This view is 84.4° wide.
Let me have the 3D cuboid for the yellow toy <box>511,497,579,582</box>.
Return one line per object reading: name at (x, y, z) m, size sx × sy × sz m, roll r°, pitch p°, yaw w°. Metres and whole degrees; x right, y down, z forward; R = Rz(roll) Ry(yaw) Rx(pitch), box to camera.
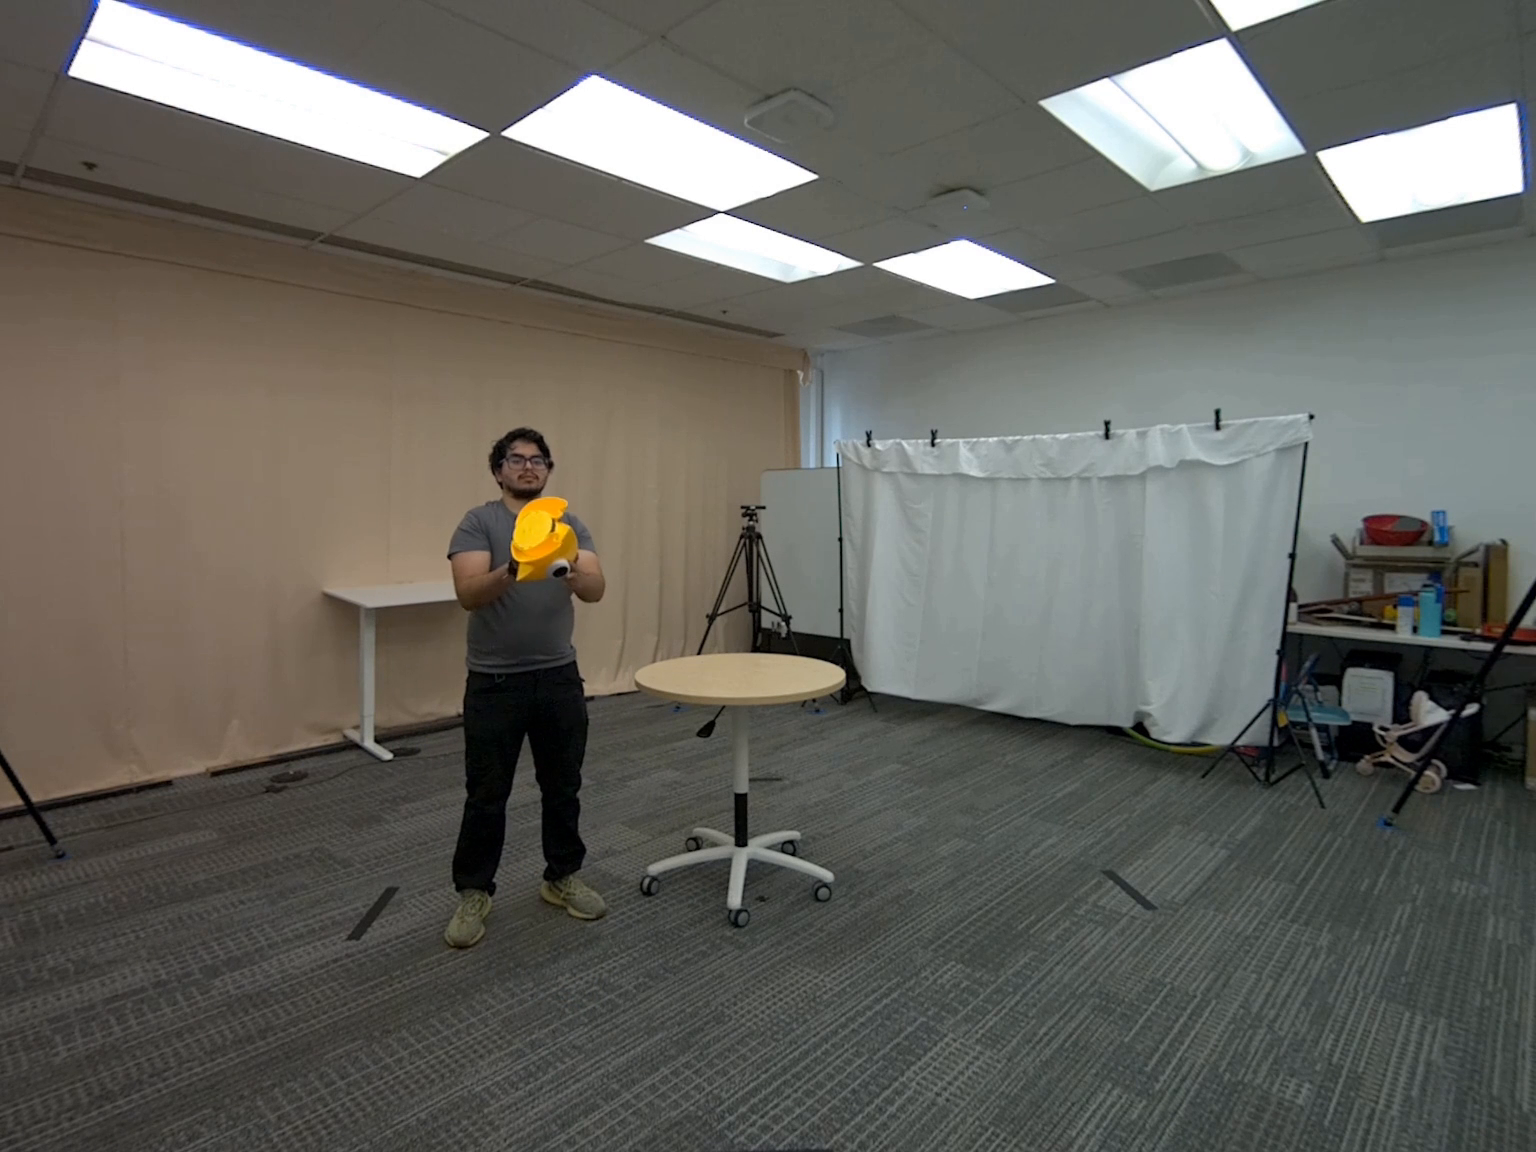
yellow toy at (-0.592, -0.066, 2.356) m, size 0.196 × 0.208 × 0.223 m, roll -9°, pitch -34°, yaw 18°
